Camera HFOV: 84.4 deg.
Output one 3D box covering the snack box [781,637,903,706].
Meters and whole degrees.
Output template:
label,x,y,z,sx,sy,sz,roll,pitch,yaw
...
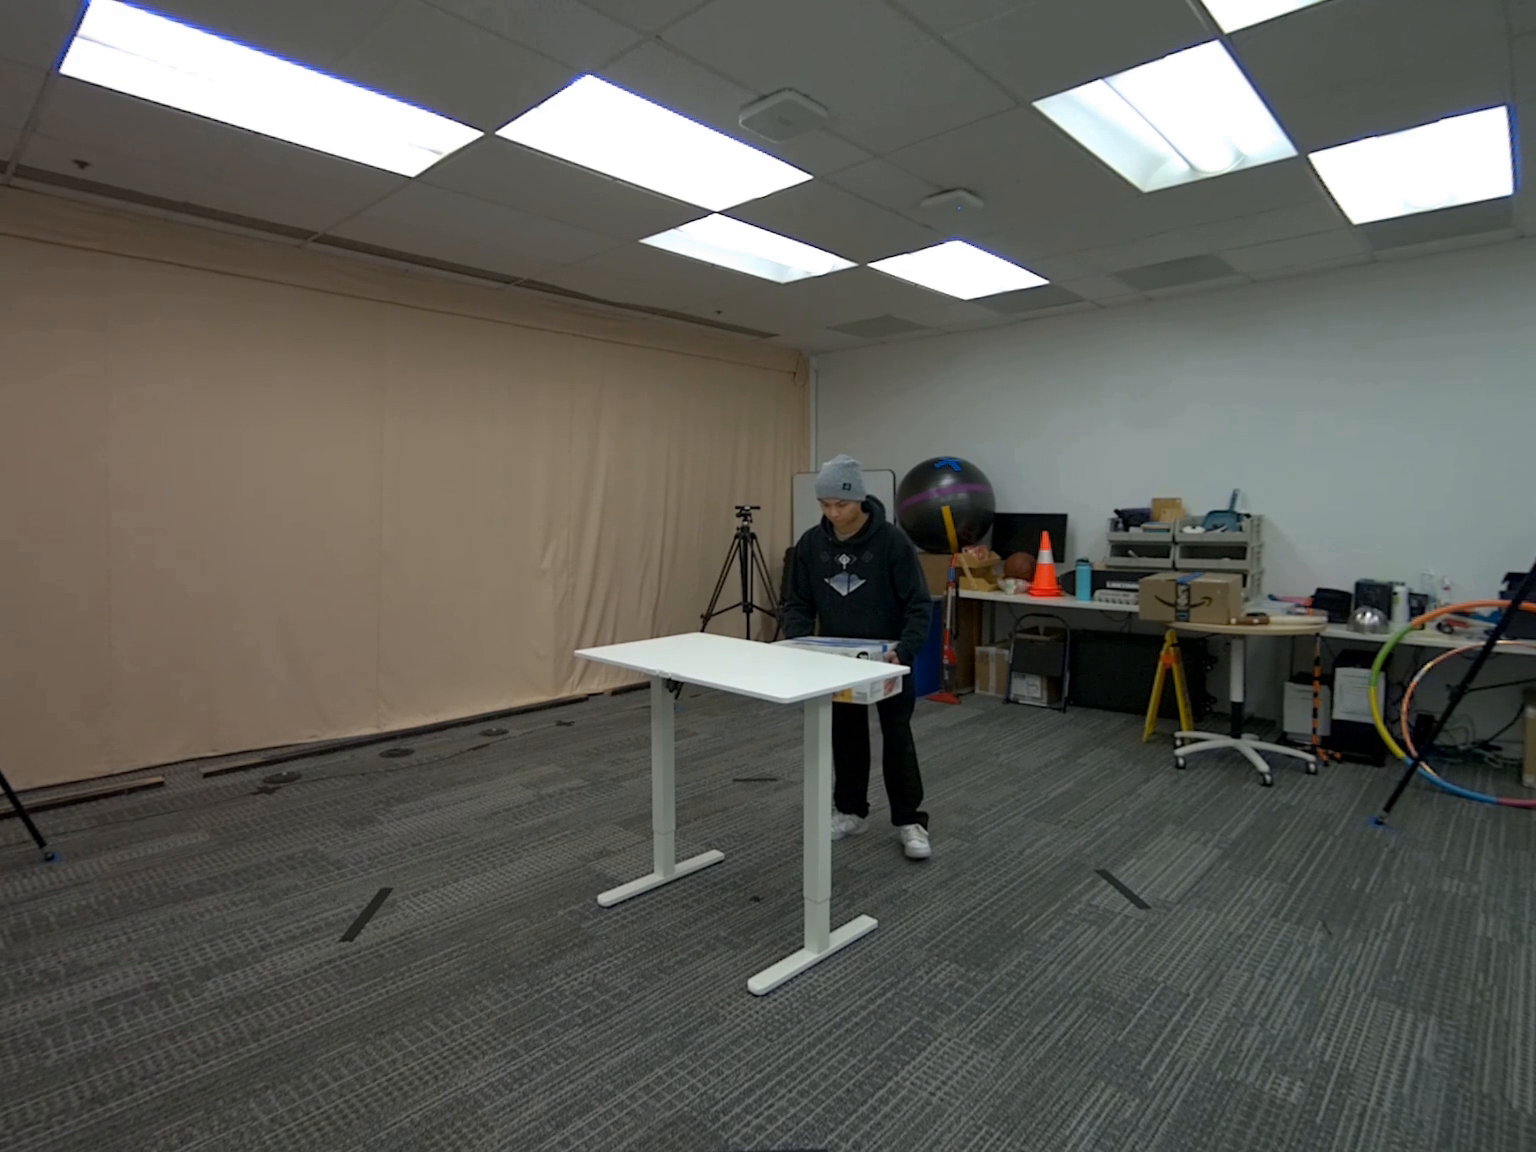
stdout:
label,x,y,z,sx,sy,sz,roll,pitch,yaw
snack box,0.271,0.360,3.276,0.417,0.205,0.331,1,2,31
